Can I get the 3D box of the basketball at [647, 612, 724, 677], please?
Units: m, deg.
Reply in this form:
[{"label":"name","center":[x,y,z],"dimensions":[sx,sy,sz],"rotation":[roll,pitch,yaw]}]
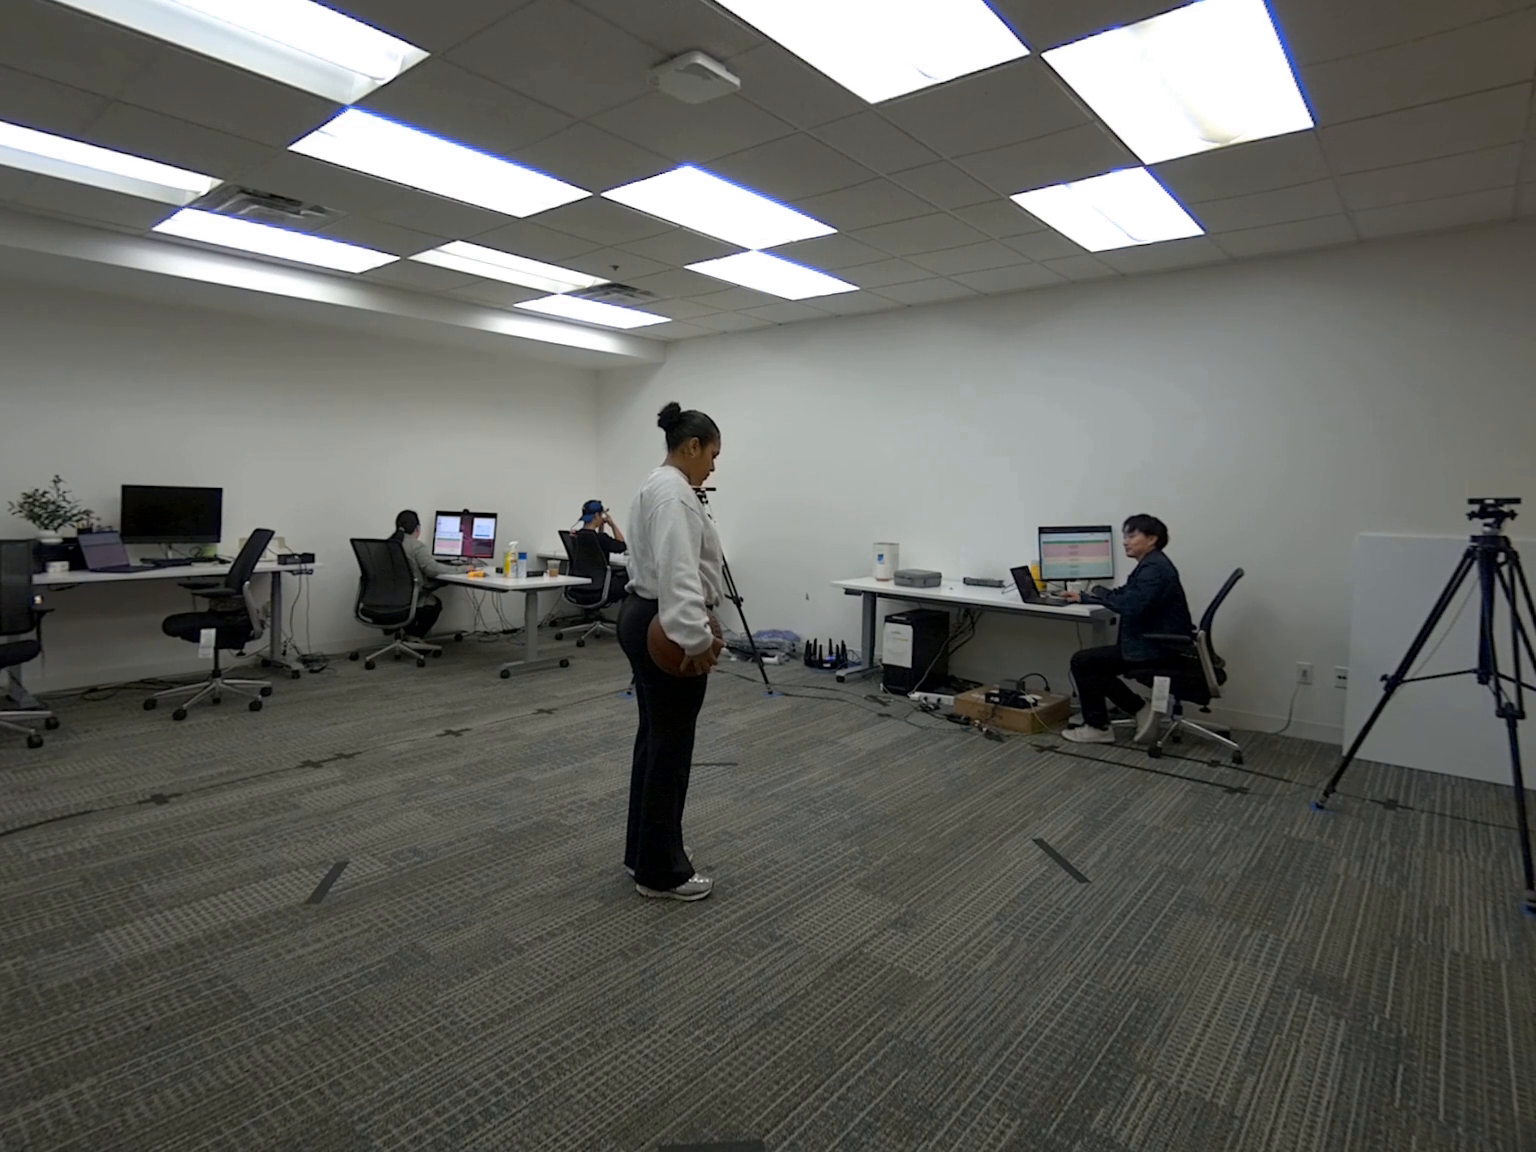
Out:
[{"label":"basketball","center":[-0.265,0.190,2.680],"dimensions":[0.235,0.235,0.237],"rotation":[1,4,-2]}]
